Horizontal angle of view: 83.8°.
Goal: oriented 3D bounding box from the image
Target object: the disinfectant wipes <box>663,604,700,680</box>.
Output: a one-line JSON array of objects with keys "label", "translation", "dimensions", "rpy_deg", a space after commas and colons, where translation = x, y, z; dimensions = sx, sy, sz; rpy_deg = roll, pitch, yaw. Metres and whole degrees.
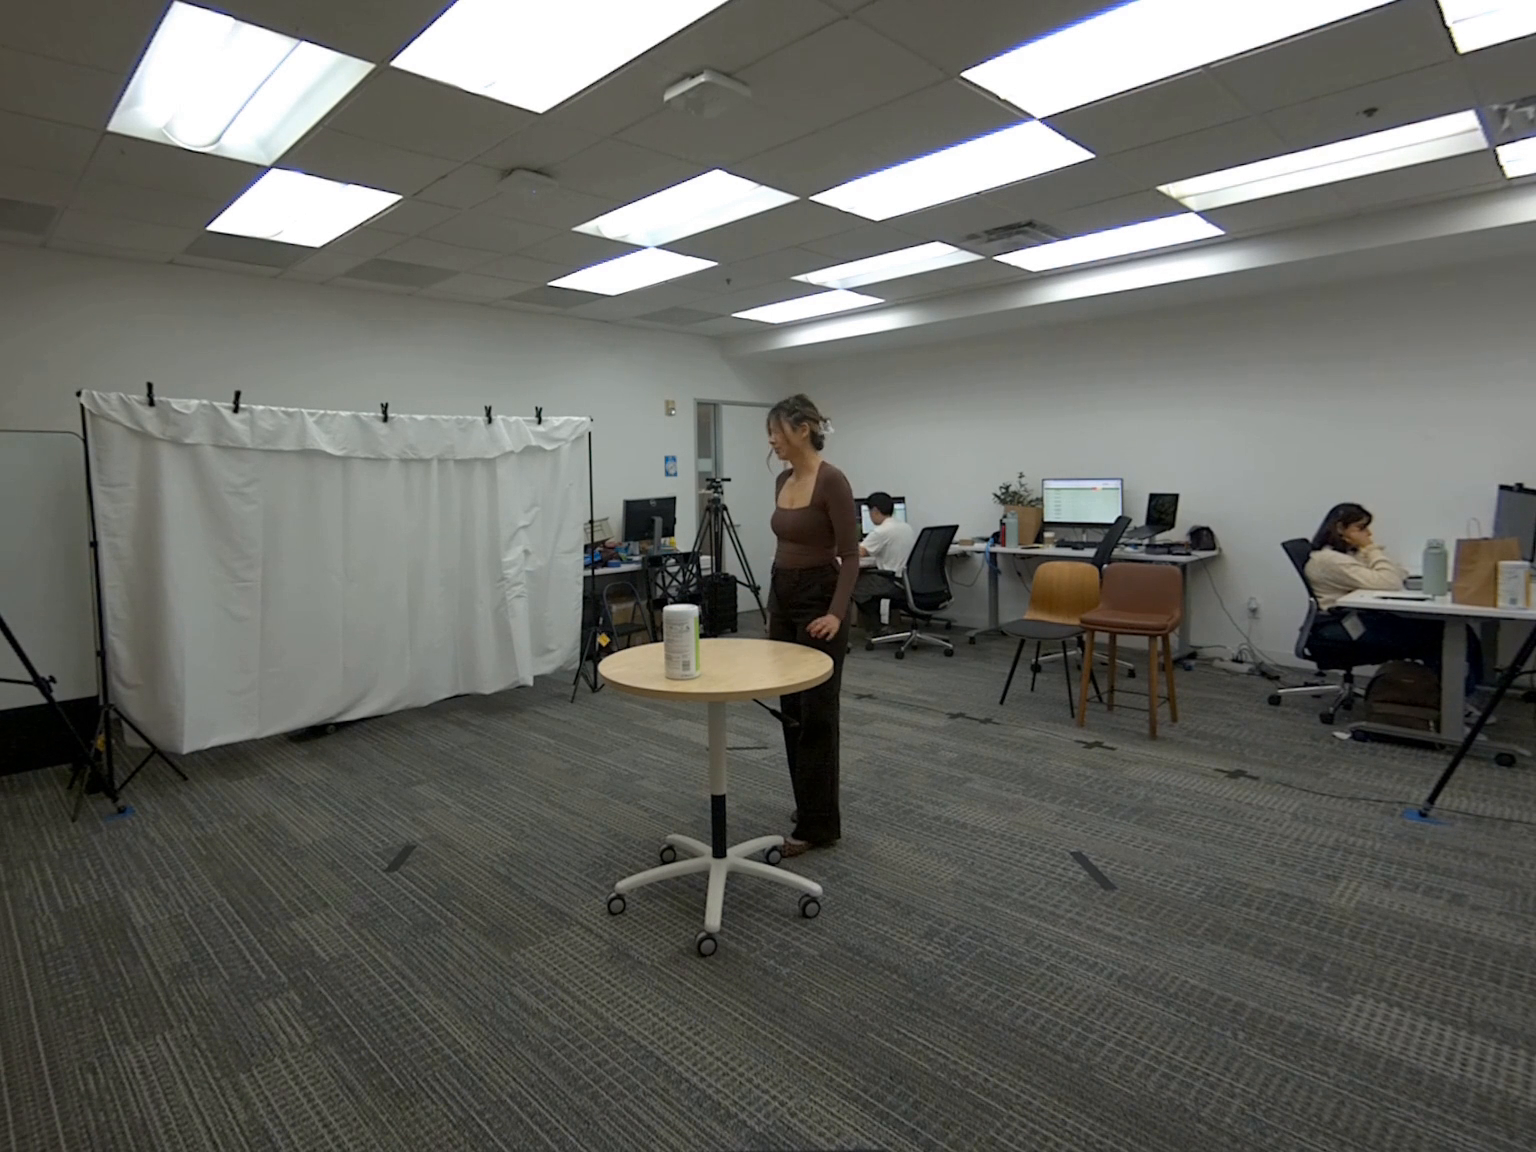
[{"label": "disinfectant wipes", "translation": [-0.262, 0.200, 2.608], "dimensions": [0.118, 0.217, 0.118], "rpy_deg": [-2, 4, -1]}]
